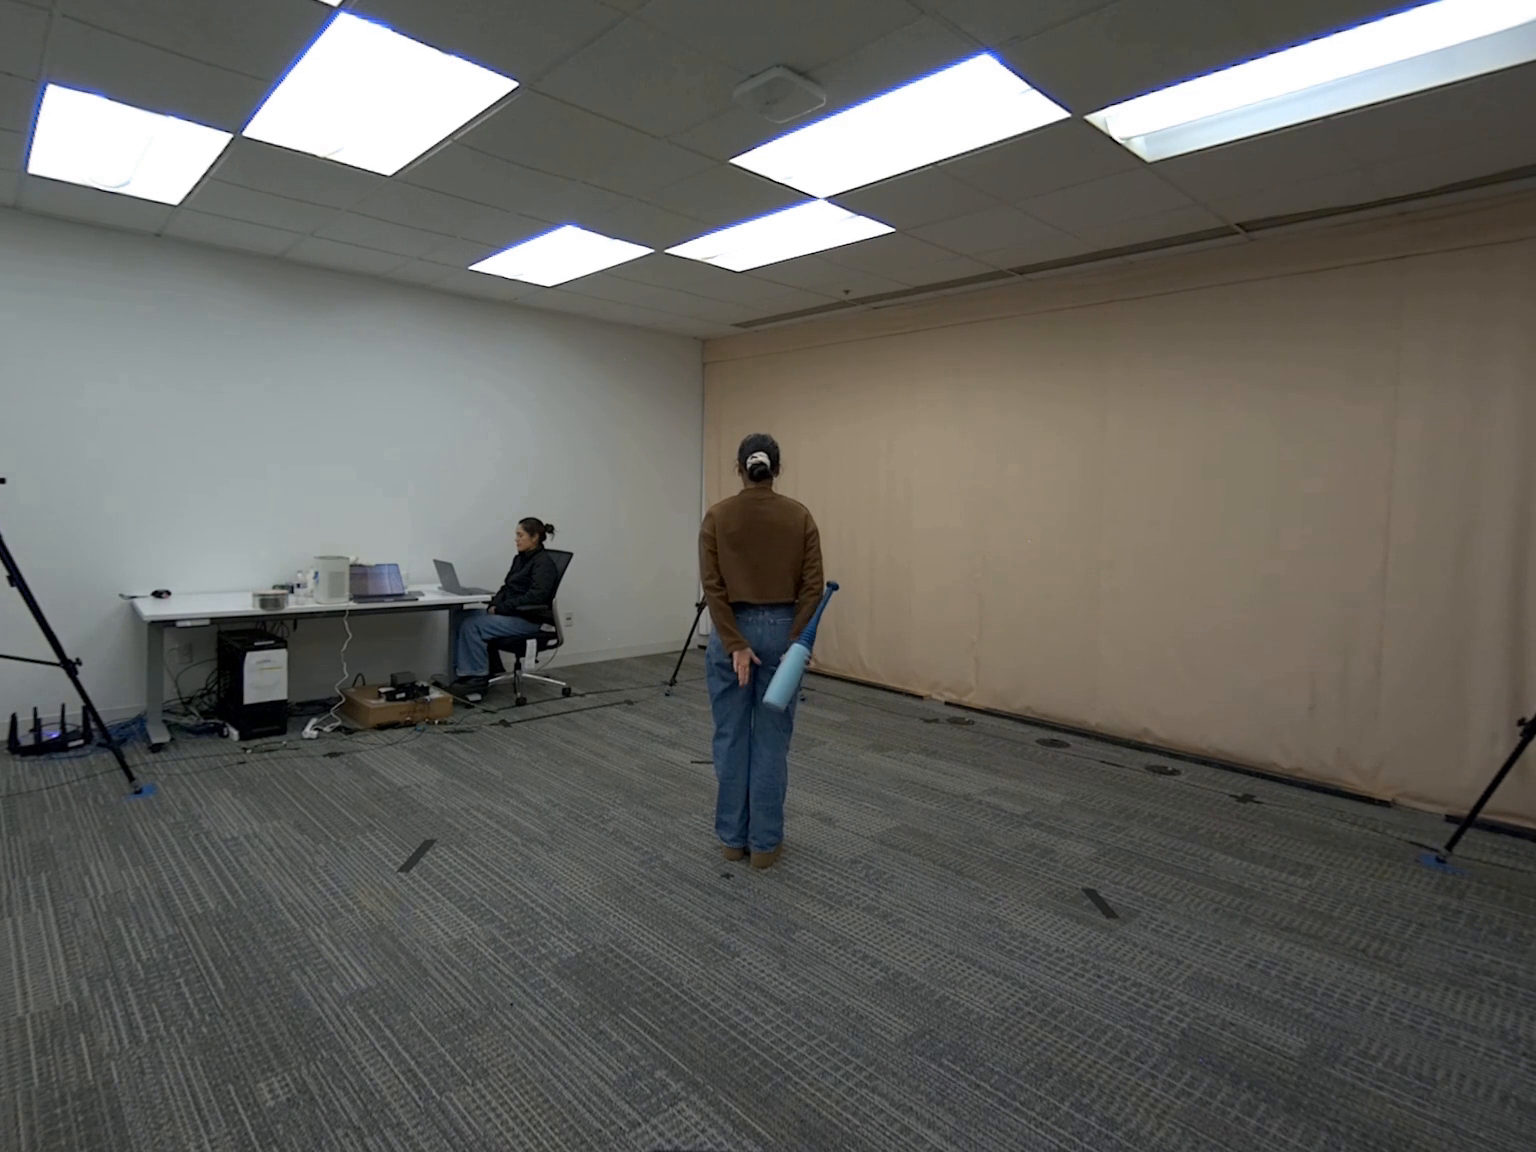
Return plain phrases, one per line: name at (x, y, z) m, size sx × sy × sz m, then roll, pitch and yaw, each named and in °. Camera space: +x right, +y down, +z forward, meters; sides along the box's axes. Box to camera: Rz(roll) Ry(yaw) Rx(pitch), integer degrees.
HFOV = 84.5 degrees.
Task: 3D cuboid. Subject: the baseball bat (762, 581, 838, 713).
baseball bat at (0.128, 0.253, 3.102) m, size 0.090 × 0.545 × 0.087 m, roll 26°, pitch -22°, yaw 10°
